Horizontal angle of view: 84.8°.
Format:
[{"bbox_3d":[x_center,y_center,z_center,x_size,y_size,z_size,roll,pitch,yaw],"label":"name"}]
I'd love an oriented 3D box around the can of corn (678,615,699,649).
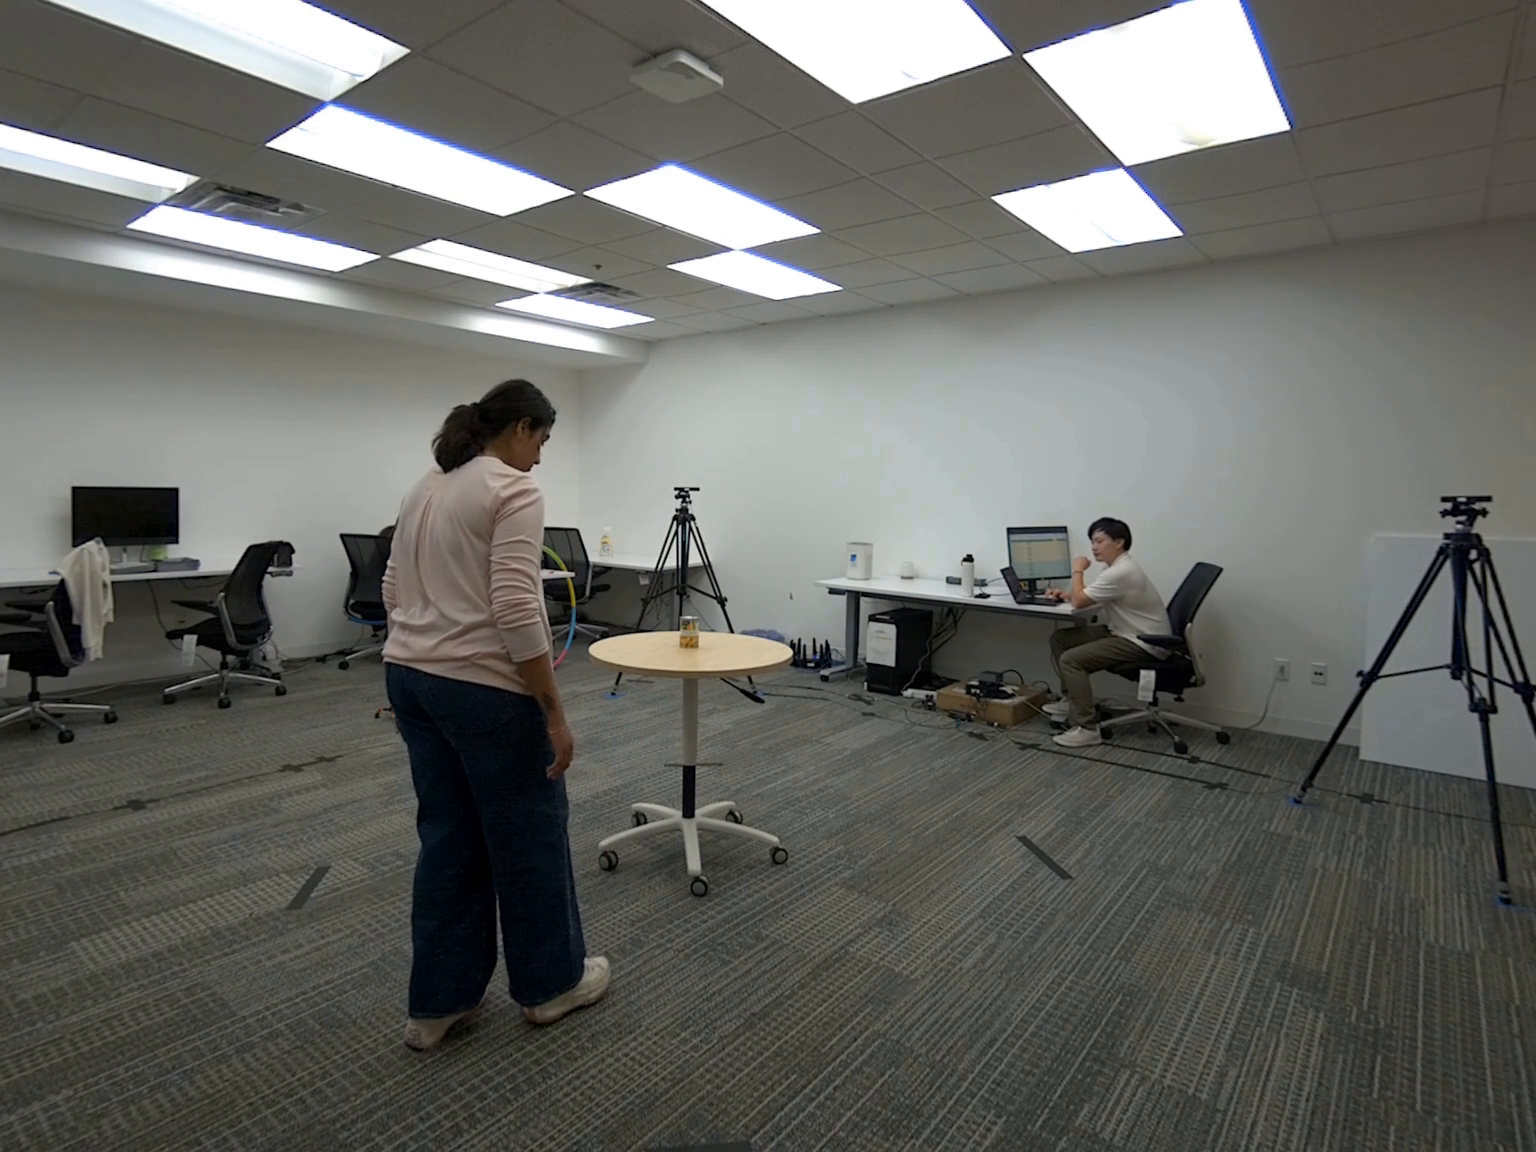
[{"bbox_3d":[-0.313,0.211,3.243,0.074,0.110,0.074,2,4,-2],"label":"can of corn"}]
